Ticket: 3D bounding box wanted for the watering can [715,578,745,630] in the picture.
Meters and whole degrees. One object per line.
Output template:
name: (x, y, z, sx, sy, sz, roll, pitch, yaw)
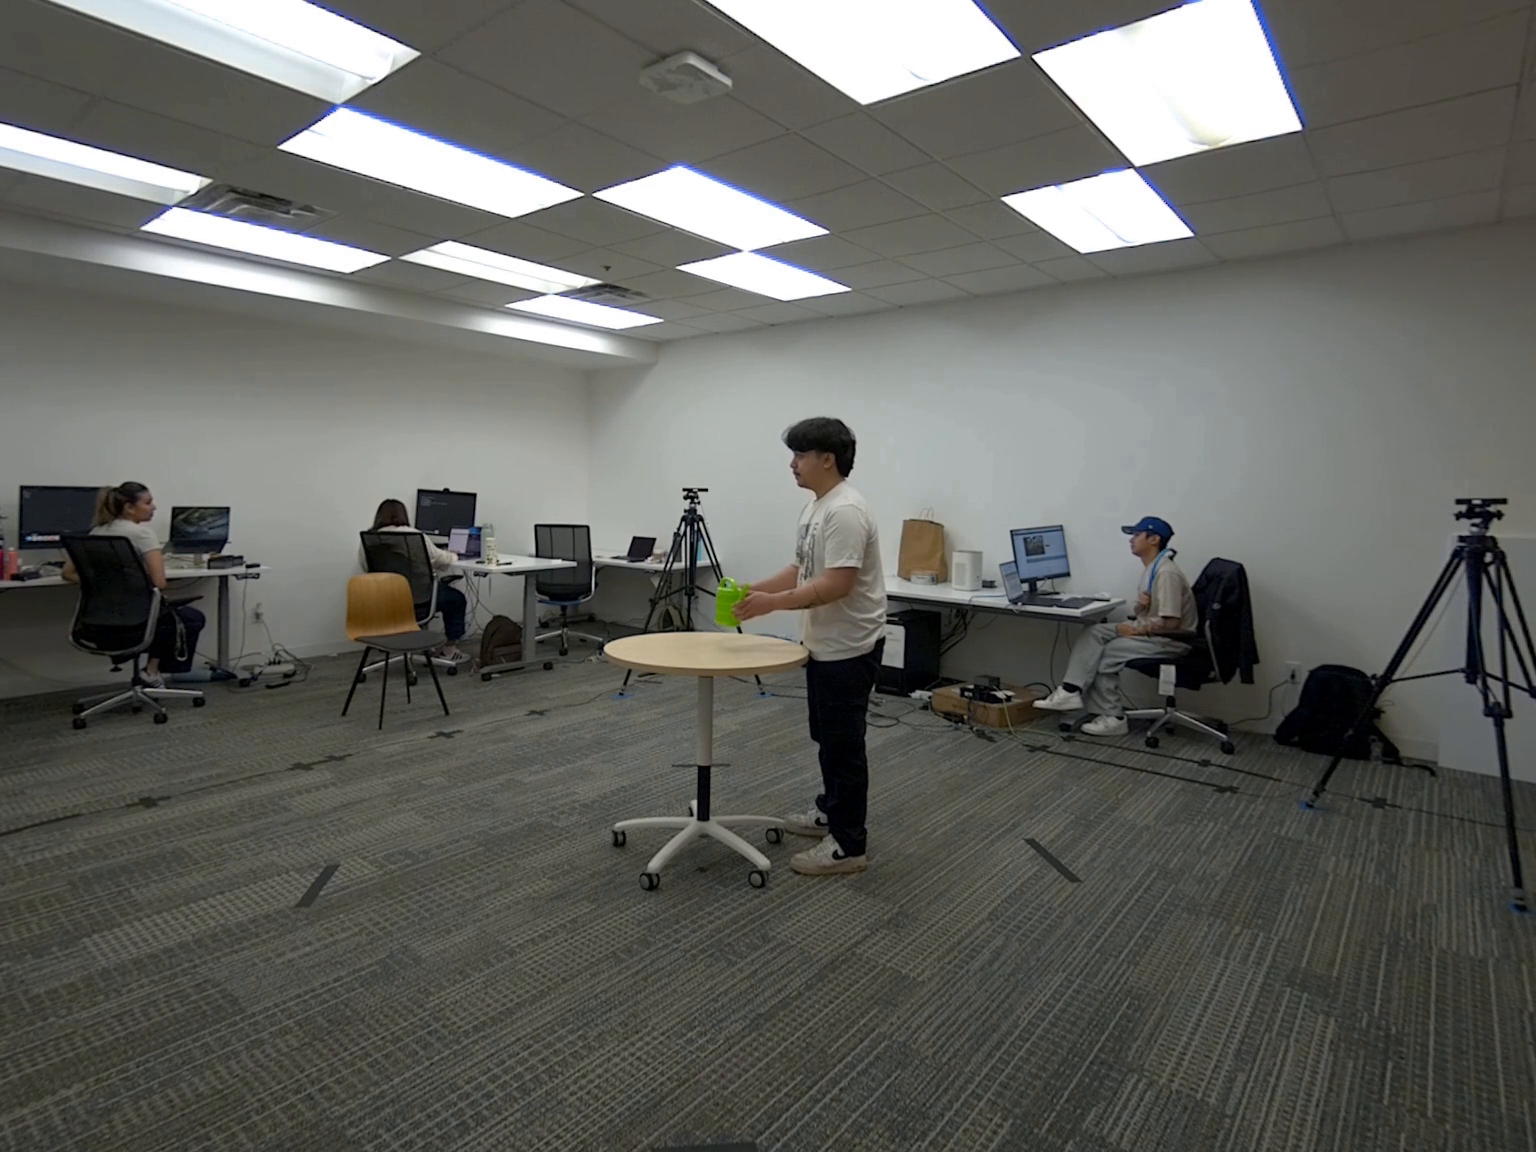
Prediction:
watering can: (-0.141, 0.099, 3.169, 0.097, 0.176, 0.283, -1, 7, -14)
